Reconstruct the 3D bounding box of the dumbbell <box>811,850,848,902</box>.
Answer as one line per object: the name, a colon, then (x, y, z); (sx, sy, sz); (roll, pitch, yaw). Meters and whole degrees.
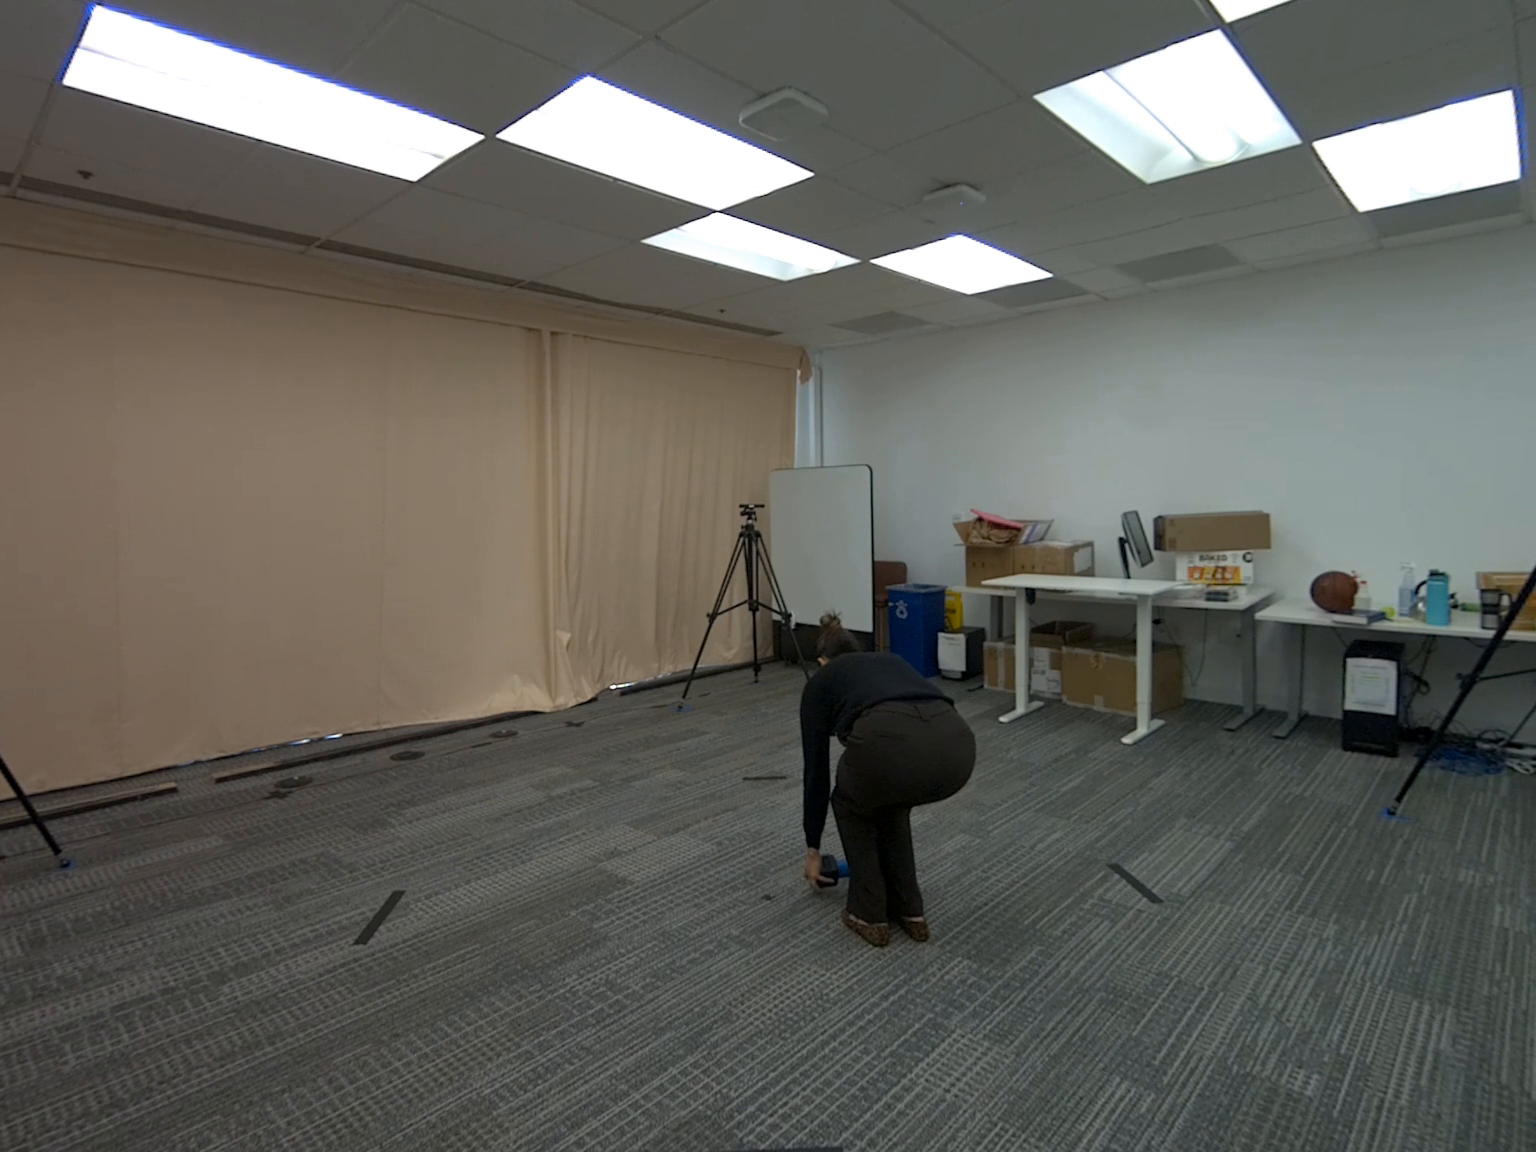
dumbbell: (0.312, 1.052, 3.003); (0.290, 0.122, 0.110); (-2, 12, -10)
